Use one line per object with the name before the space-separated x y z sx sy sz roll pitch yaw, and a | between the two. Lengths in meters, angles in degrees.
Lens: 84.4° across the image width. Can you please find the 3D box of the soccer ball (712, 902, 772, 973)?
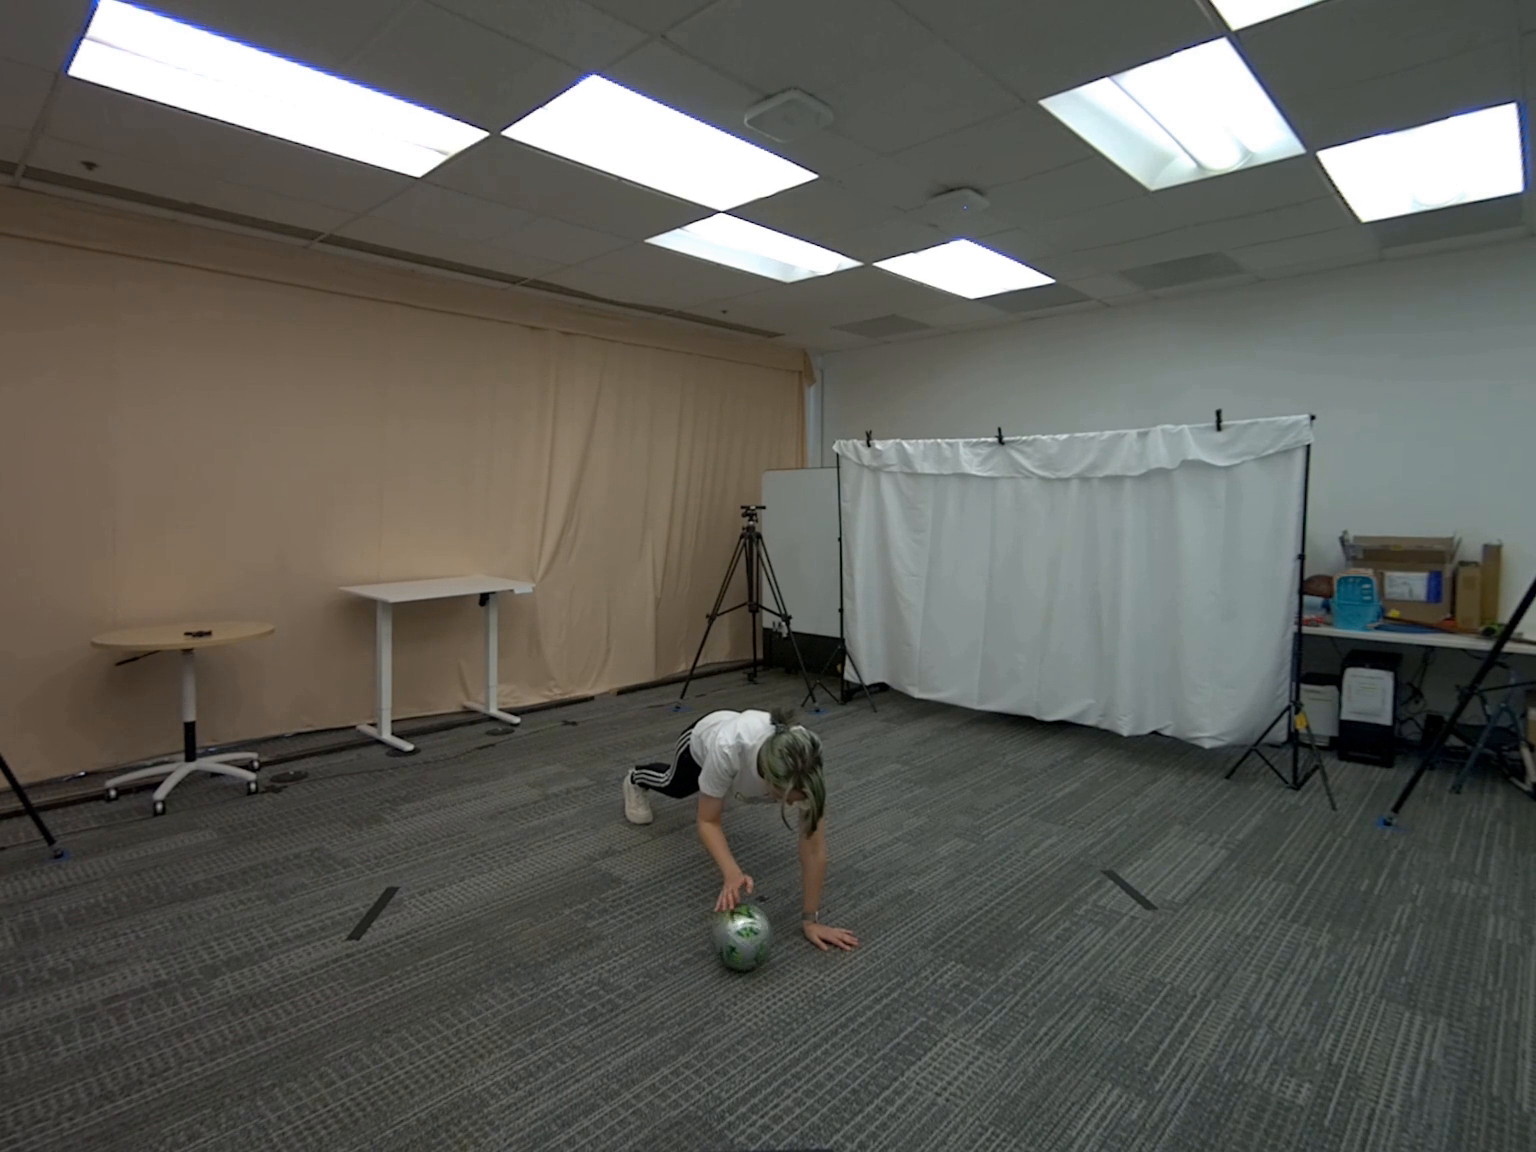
soccer ball | -0.077 1.081 2.544 0.187 0.187 0.188 0 4 -2
